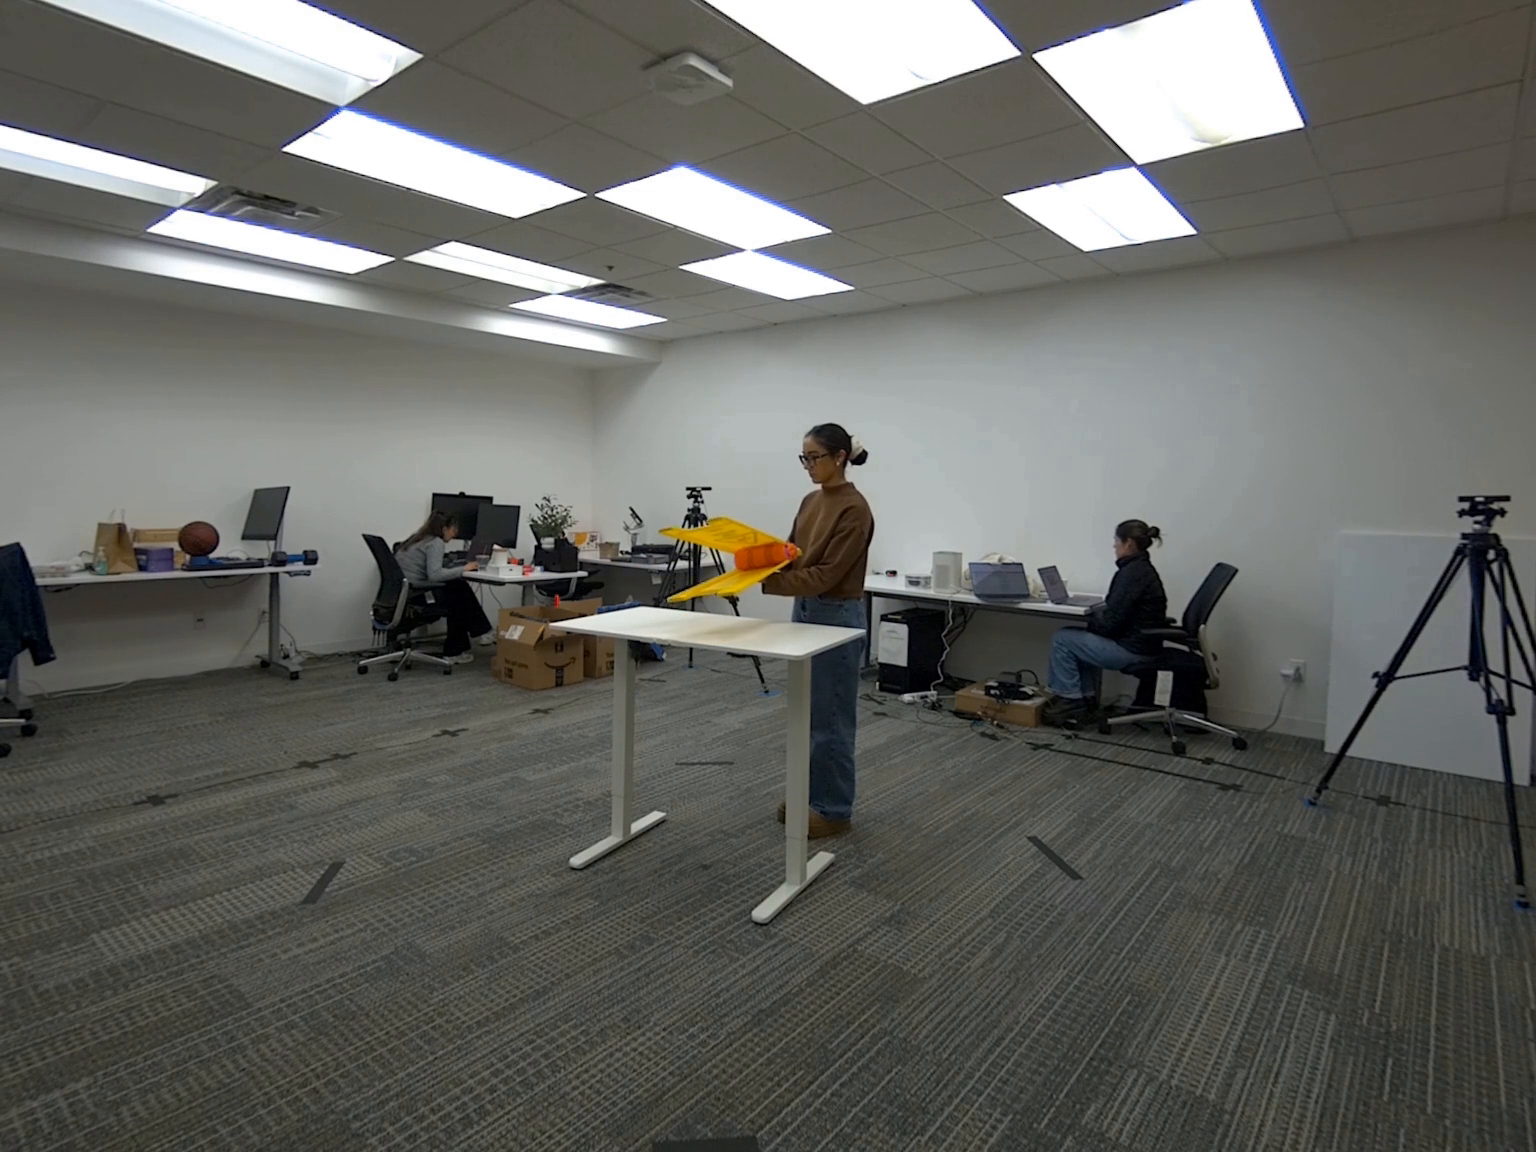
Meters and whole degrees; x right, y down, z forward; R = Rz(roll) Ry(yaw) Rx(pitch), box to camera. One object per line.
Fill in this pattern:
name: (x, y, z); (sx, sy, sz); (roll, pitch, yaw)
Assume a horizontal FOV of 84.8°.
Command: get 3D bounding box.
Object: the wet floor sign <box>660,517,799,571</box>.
wet floor sign: (-0.116, -0.066, 3.162); (0.288, 0.290, 0.630); (-10, -1, 28)
